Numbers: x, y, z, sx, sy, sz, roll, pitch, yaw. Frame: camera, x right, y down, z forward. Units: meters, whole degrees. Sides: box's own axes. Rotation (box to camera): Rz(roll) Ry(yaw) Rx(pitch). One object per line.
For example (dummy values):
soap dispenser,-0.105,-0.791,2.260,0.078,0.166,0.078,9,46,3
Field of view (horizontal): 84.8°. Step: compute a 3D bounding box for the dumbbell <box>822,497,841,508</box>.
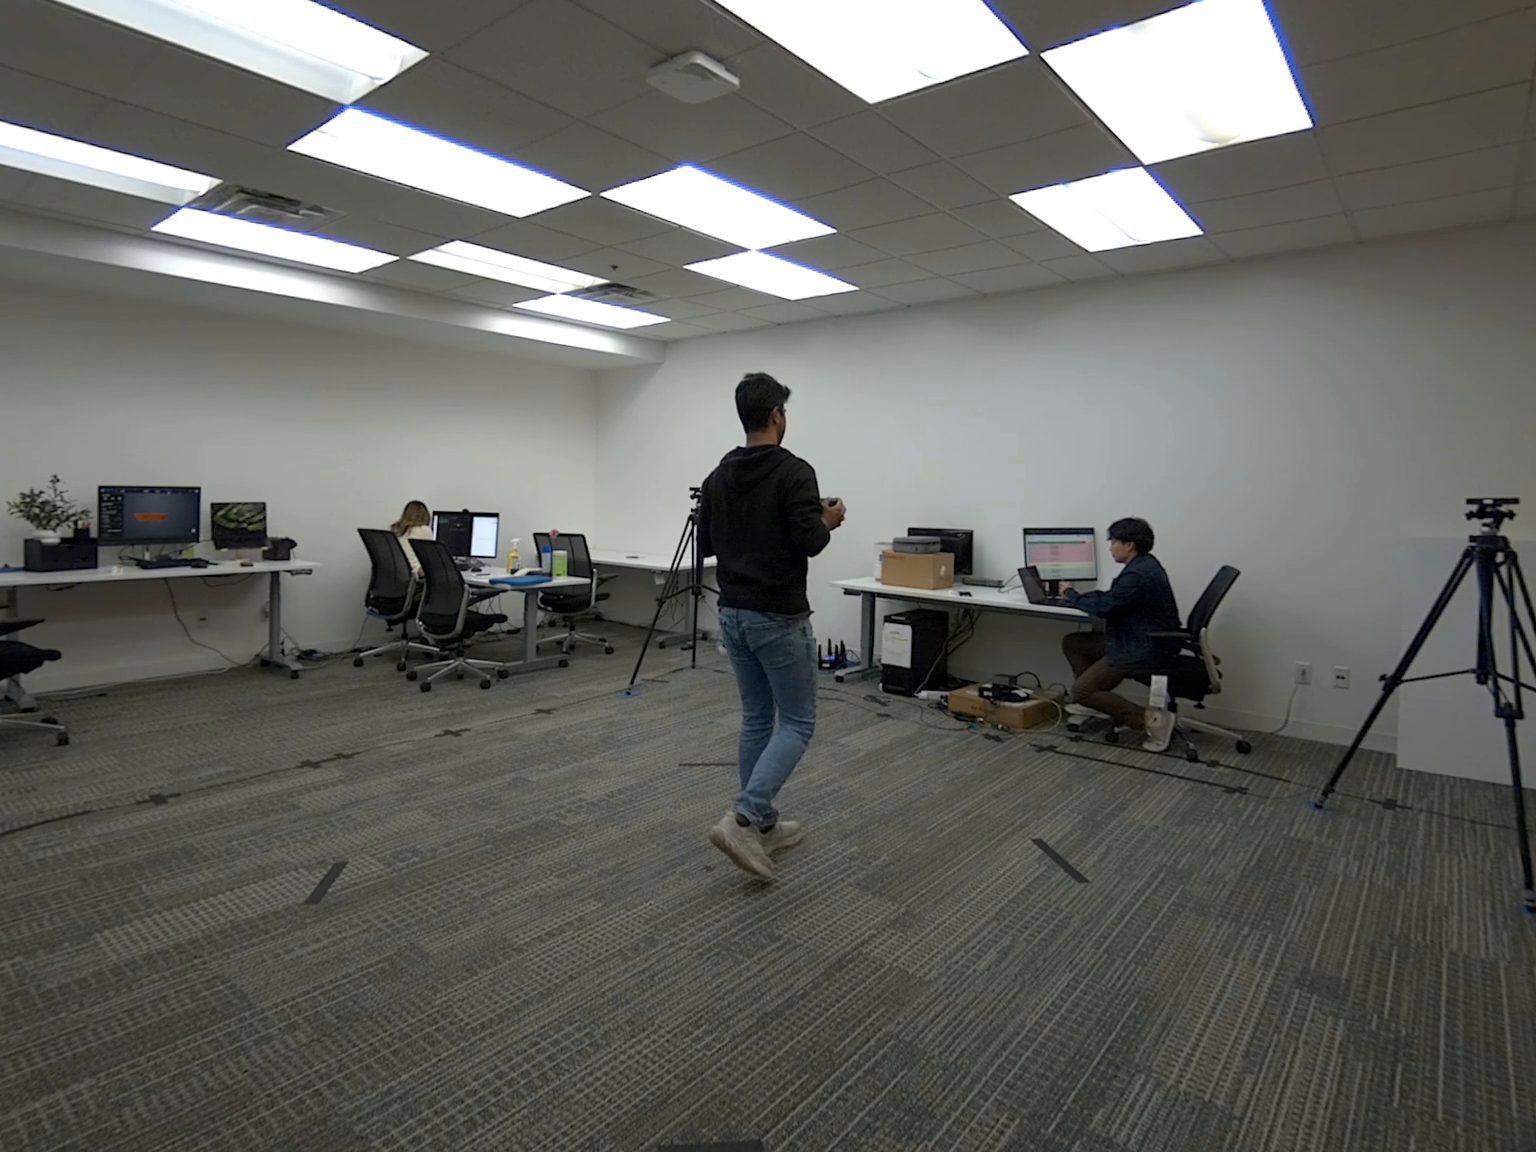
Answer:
dumbbell,0.131,-0.249,3.372,0.304,0.124,0.104,5,-21,43
